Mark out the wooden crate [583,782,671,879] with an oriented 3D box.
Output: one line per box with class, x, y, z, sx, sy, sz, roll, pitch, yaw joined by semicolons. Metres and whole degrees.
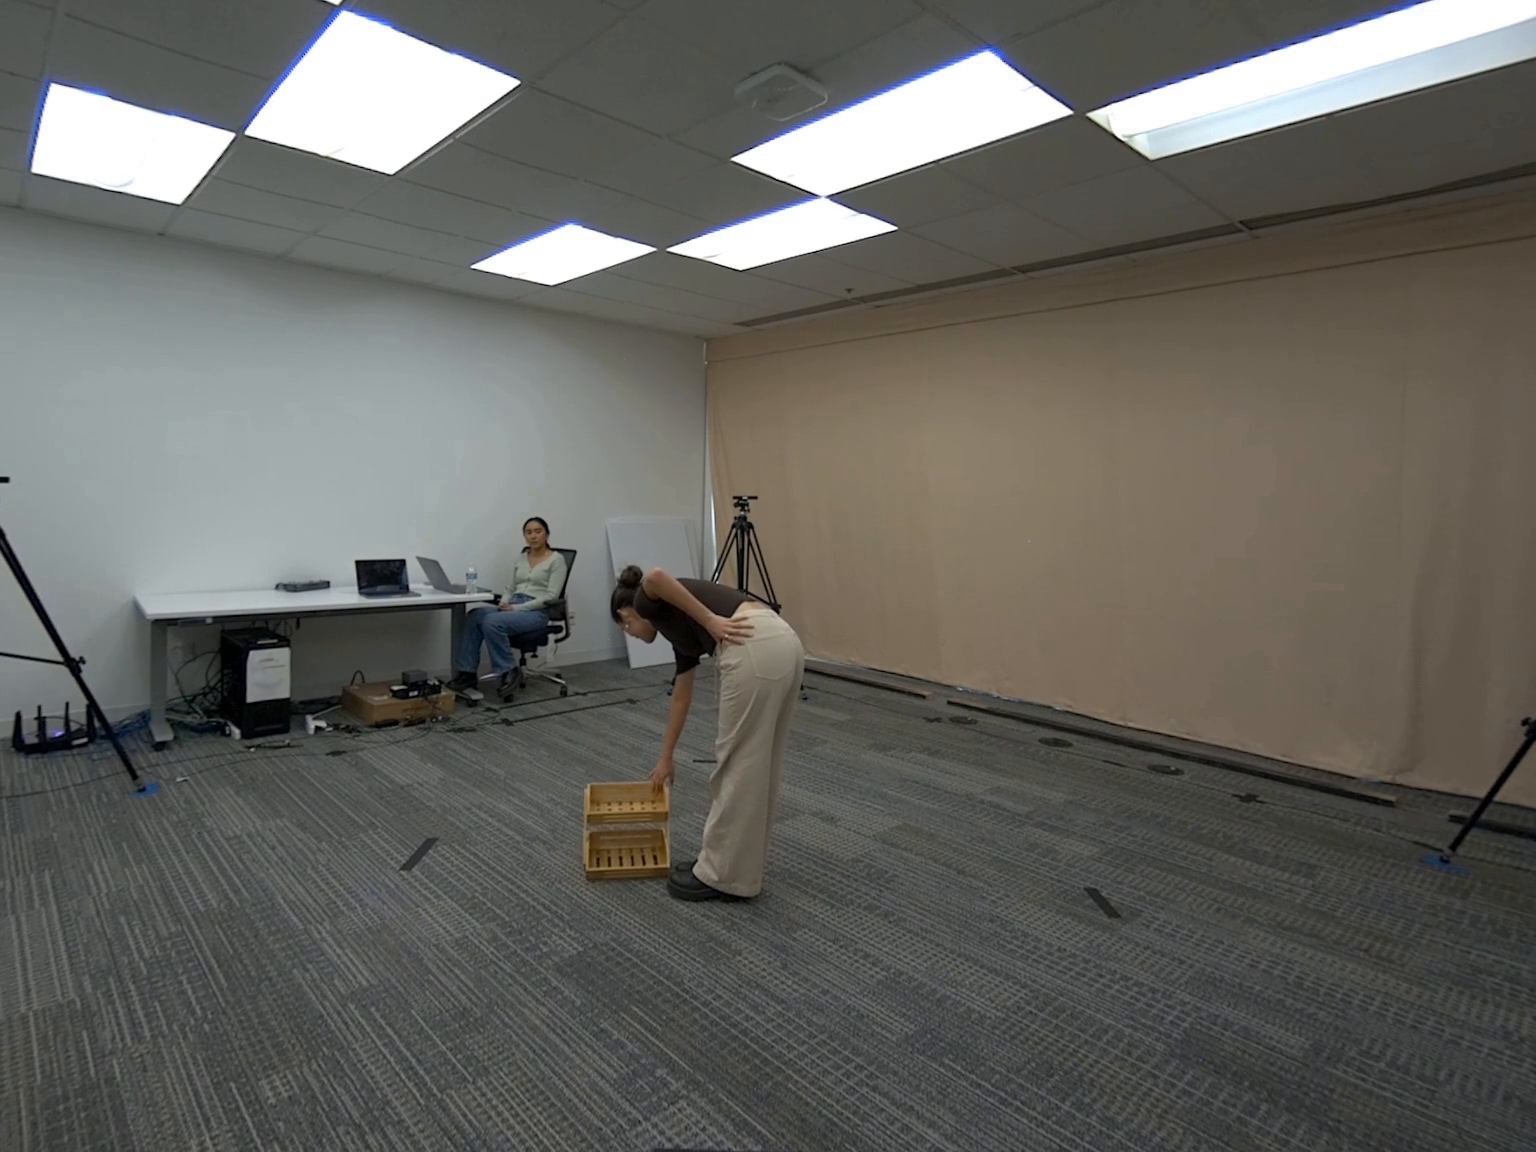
wooden crate;-0.541;0.954;3.174;0.322;0.272;0.305;1;4;-10
